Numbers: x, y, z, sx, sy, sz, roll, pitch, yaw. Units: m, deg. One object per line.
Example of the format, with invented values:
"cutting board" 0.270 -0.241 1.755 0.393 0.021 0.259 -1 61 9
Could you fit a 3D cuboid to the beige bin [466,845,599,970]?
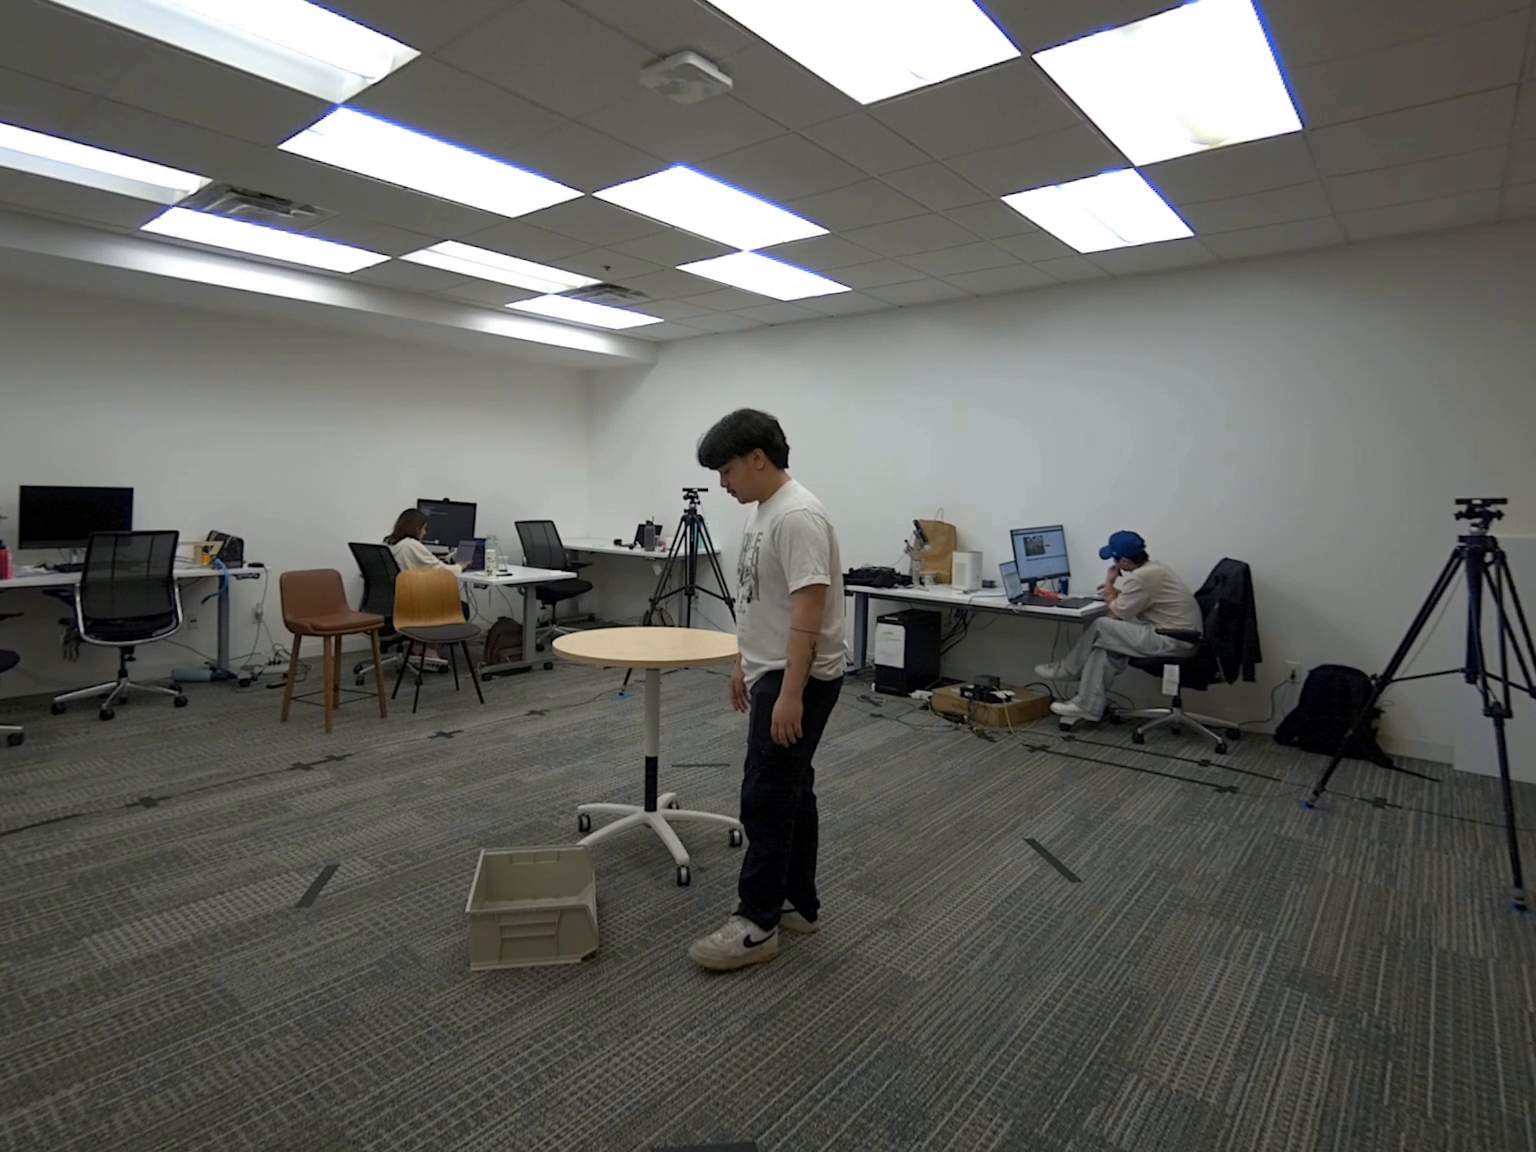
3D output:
"beige bin" -0.739 1.023 2.656 0.373 0.188 0.429 -1 6 -12
